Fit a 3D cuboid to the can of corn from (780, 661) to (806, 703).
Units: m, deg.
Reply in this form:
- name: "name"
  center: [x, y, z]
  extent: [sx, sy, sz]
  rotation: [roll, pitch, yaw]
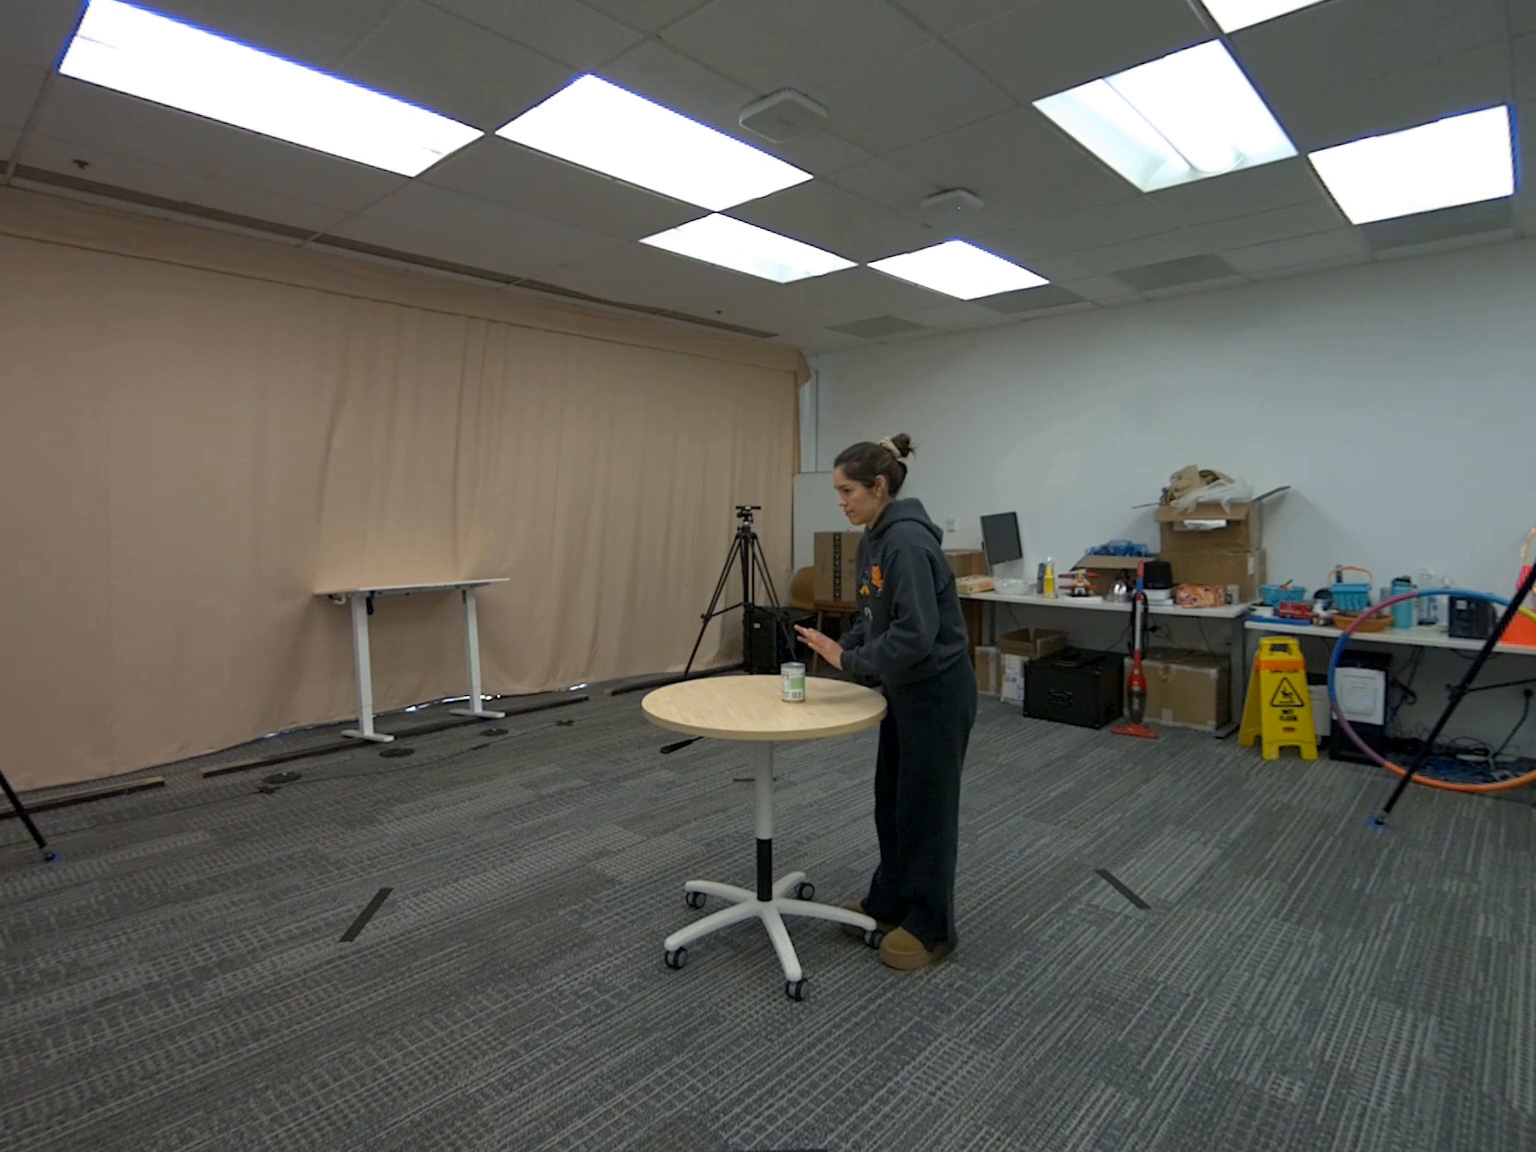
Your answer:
- name: "can of corn"
  center: [0.096, 0.336, 2.621]
  extent: [0.074, 0.110, 0.074]
  rotation: [1, 6, -2]
